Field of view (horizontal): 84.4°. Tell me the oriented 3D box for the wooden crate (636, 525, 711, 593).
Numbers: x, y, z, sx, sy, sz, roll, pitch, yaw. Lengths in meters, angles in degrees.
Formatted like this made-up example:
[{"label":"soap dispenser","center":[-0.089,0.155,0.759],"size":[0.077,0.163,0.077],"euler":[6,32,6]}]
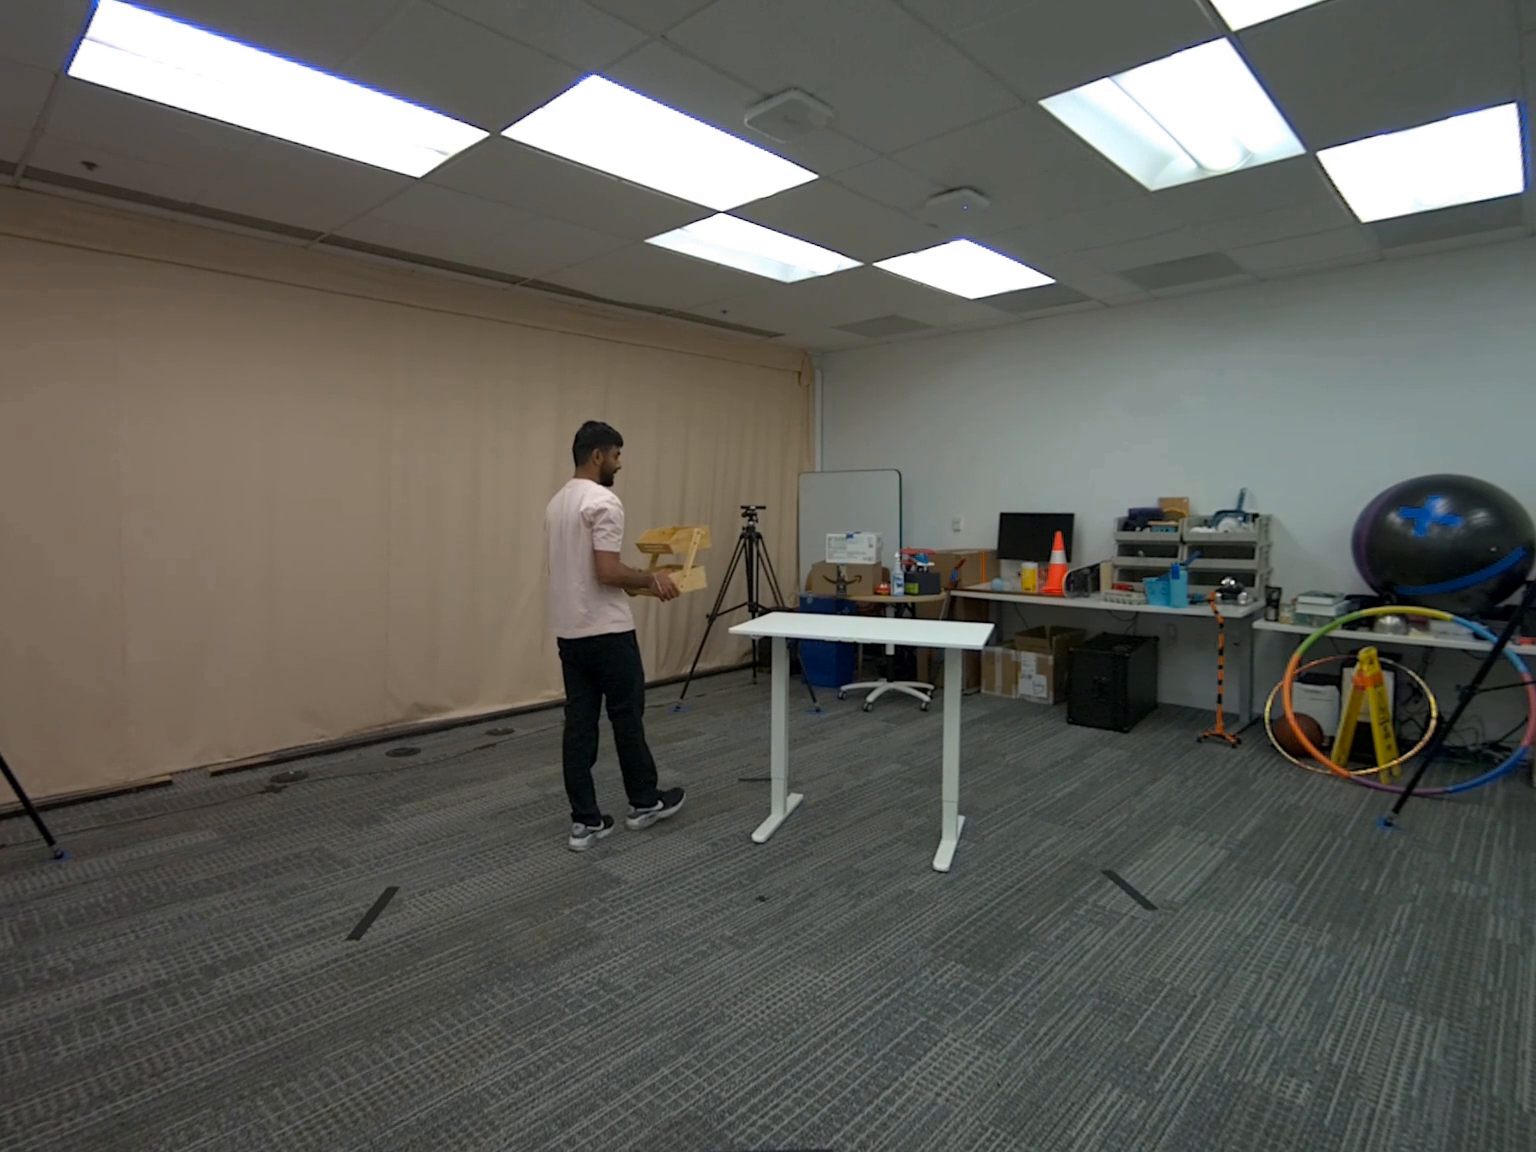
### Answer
[{"label":"wooden crate","center":[-0.444,-0.071,3.674],"size":[0.294,0.272,0.334],"euler":[-12,9,-34]}]
